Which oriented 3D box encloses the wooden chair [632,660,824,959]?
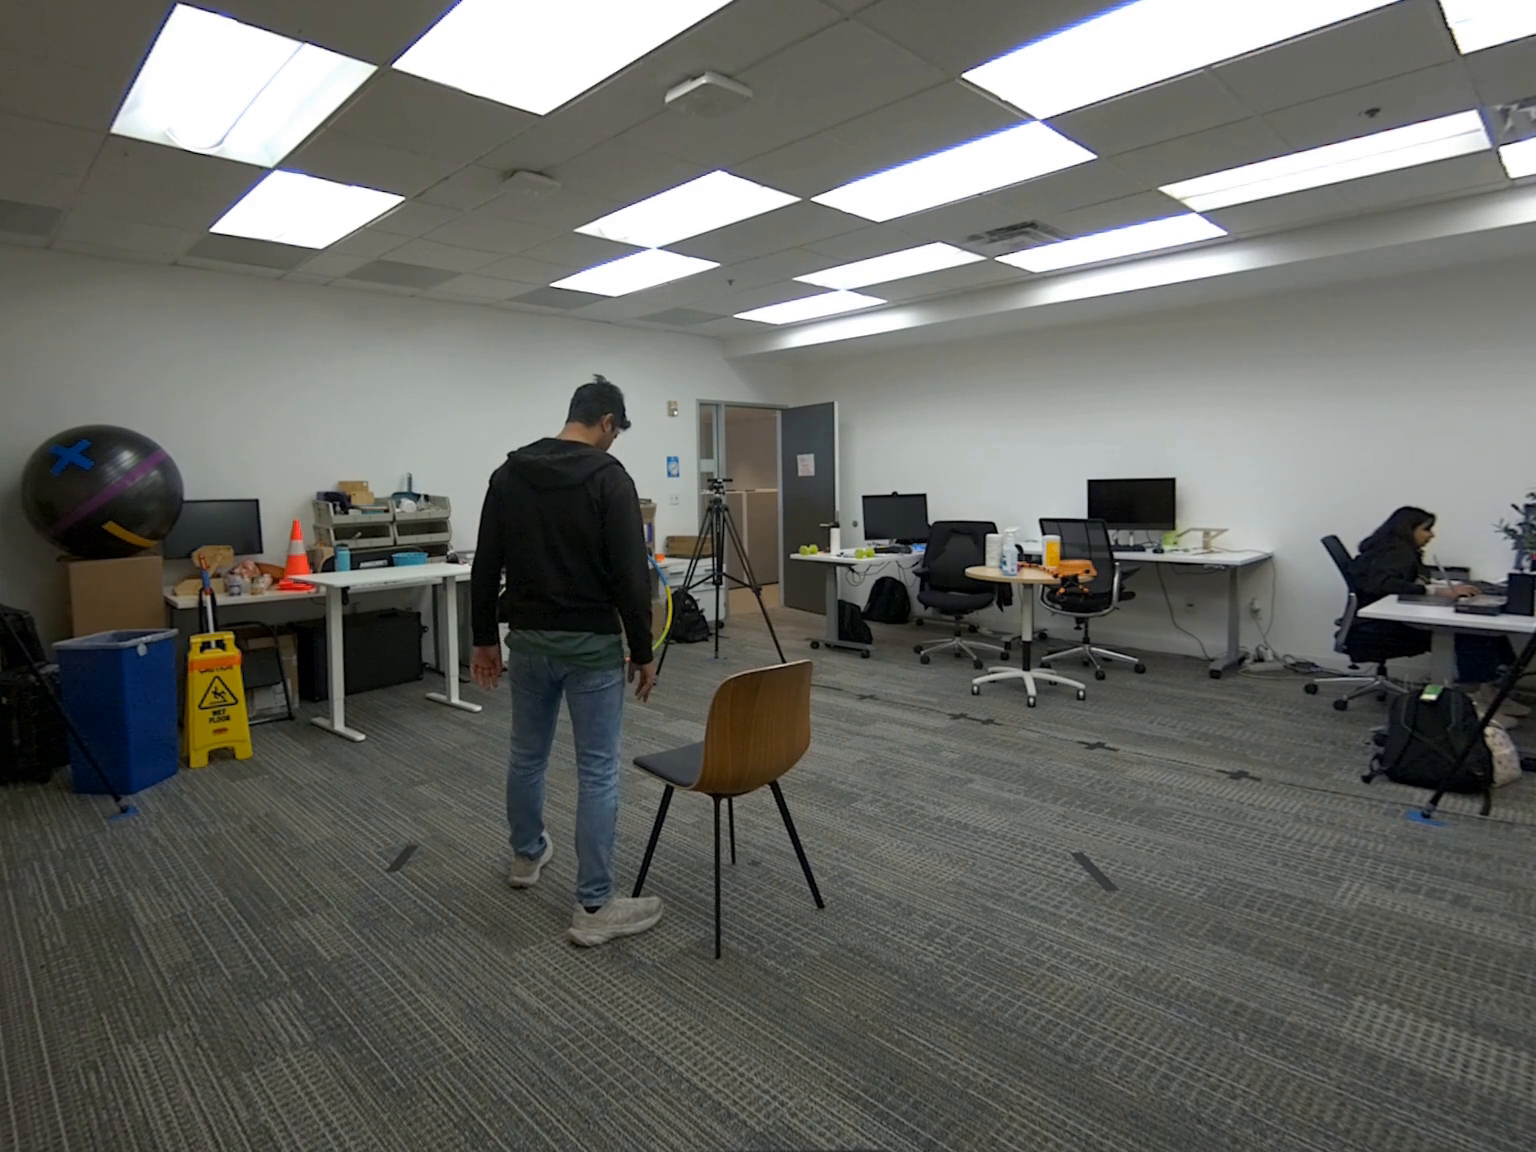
[{"bbox_3d":[-0.145,0.654,2.781,0.465,0.871,0.541,-5,10,-41],"label":"wooden chair"}]
